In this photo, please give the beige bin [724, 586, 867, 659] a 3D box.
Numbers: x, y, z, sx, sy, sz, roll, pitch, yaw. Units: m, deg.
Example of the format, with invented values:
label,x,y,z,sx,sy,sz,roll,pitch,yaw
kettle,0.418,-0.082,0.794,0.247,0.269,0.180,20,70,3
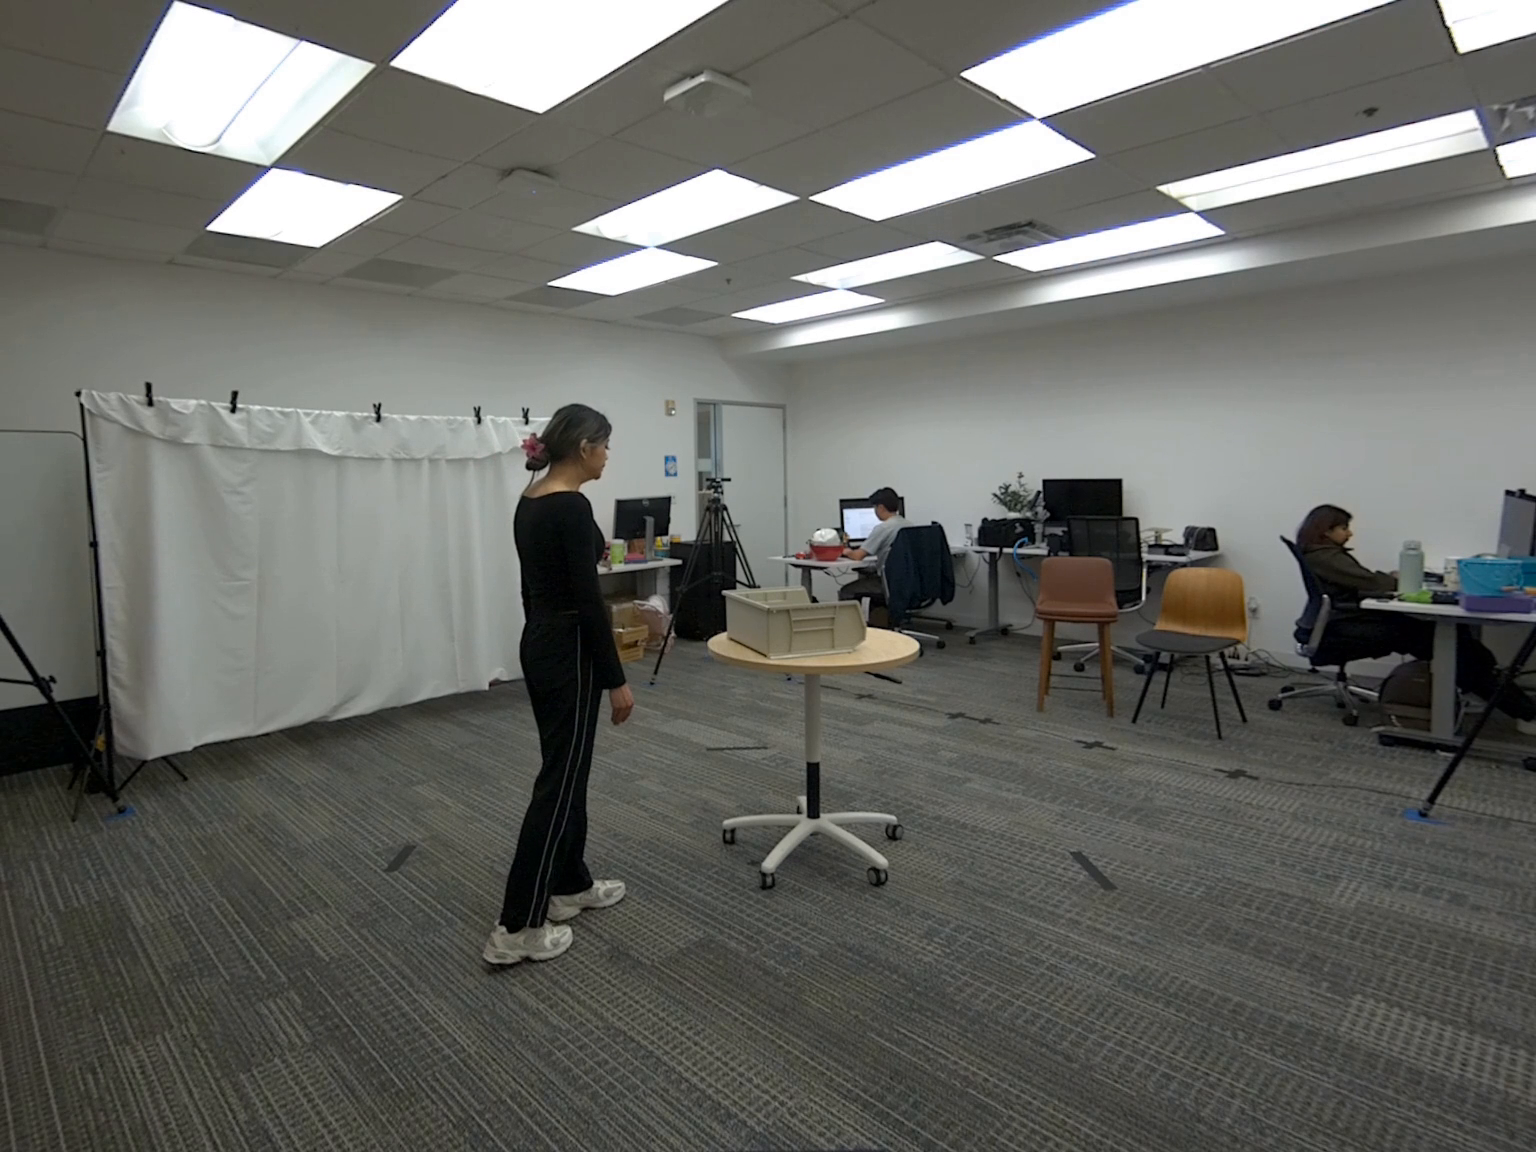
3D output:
label,x,y,z,sx,sy,sz,roll,pitch,yaw
beige bin,0.090,0.159,3.077,0.370,0.188,0.433,-4,7,-23
